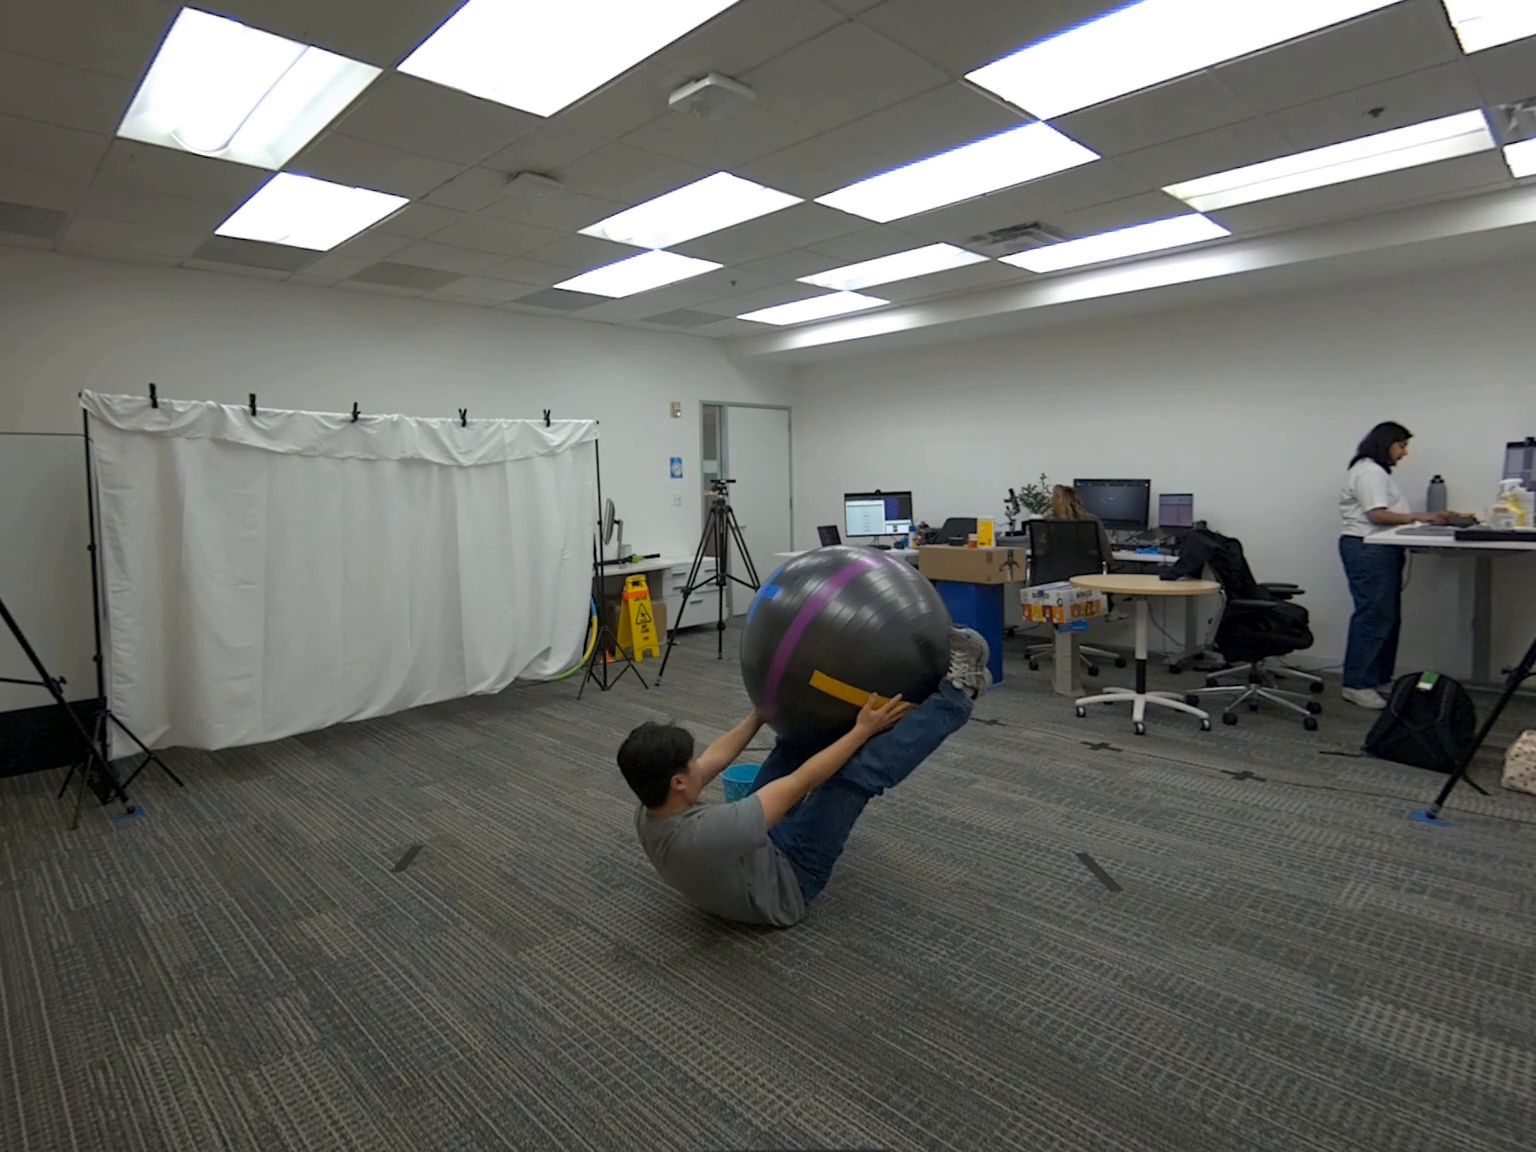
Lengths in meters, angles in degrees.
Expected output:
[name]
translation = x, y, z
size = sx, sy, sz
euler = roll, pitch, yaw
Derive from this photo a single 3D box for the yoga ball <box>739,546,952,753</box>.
[yoga ball]
translation = 0.268, 0.275, 3.008
size = 0.757, 0.755, 0.762
euler = -1, 5, -2
